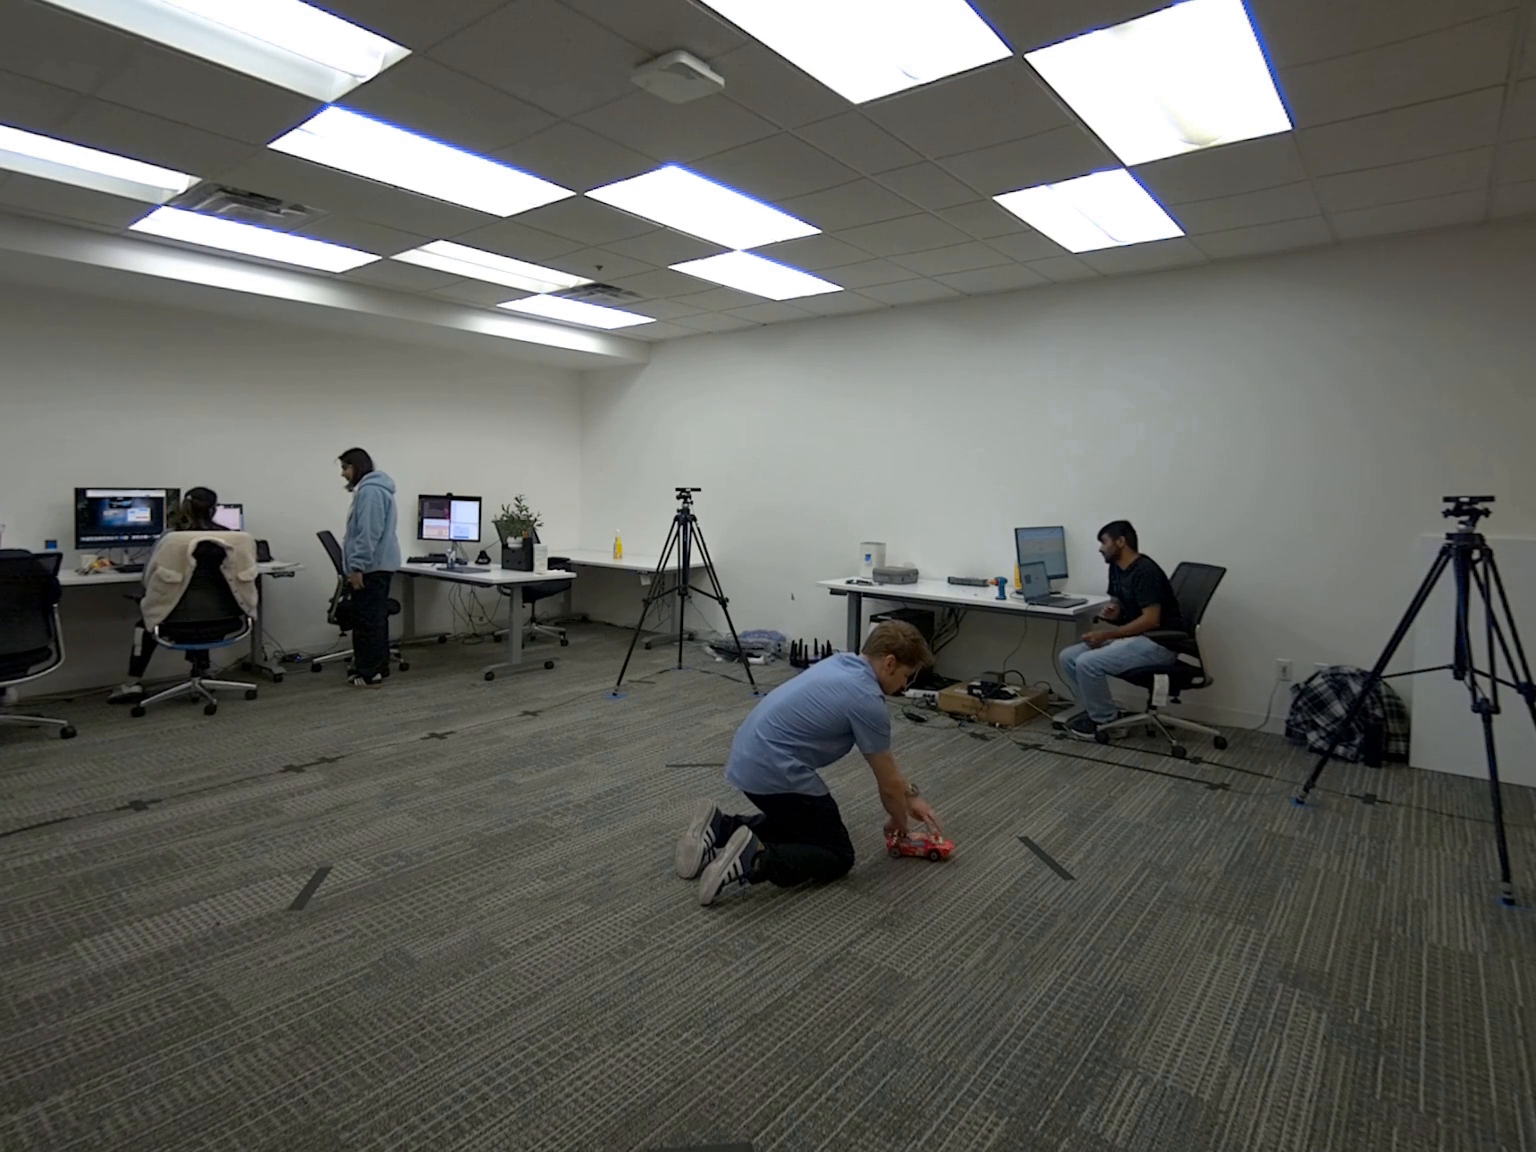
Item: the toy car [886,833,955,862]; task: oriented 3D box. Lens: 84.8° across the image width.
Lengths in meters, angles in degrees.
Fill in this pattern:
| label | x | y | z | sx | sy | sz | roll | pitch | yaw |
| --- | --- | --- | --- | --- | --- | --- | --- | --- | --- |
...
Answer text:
| label | x | y | z | sx | sy | sz | roll | pitch | yaw |
| --- | --- | --- | --- | --- | --- | --- | --- | --- | --- |
| toy car | 0.585 | 1.042 | 3.259 | 0.257 | 0.083 | 0.129 | -10 | 2 | 11 |
